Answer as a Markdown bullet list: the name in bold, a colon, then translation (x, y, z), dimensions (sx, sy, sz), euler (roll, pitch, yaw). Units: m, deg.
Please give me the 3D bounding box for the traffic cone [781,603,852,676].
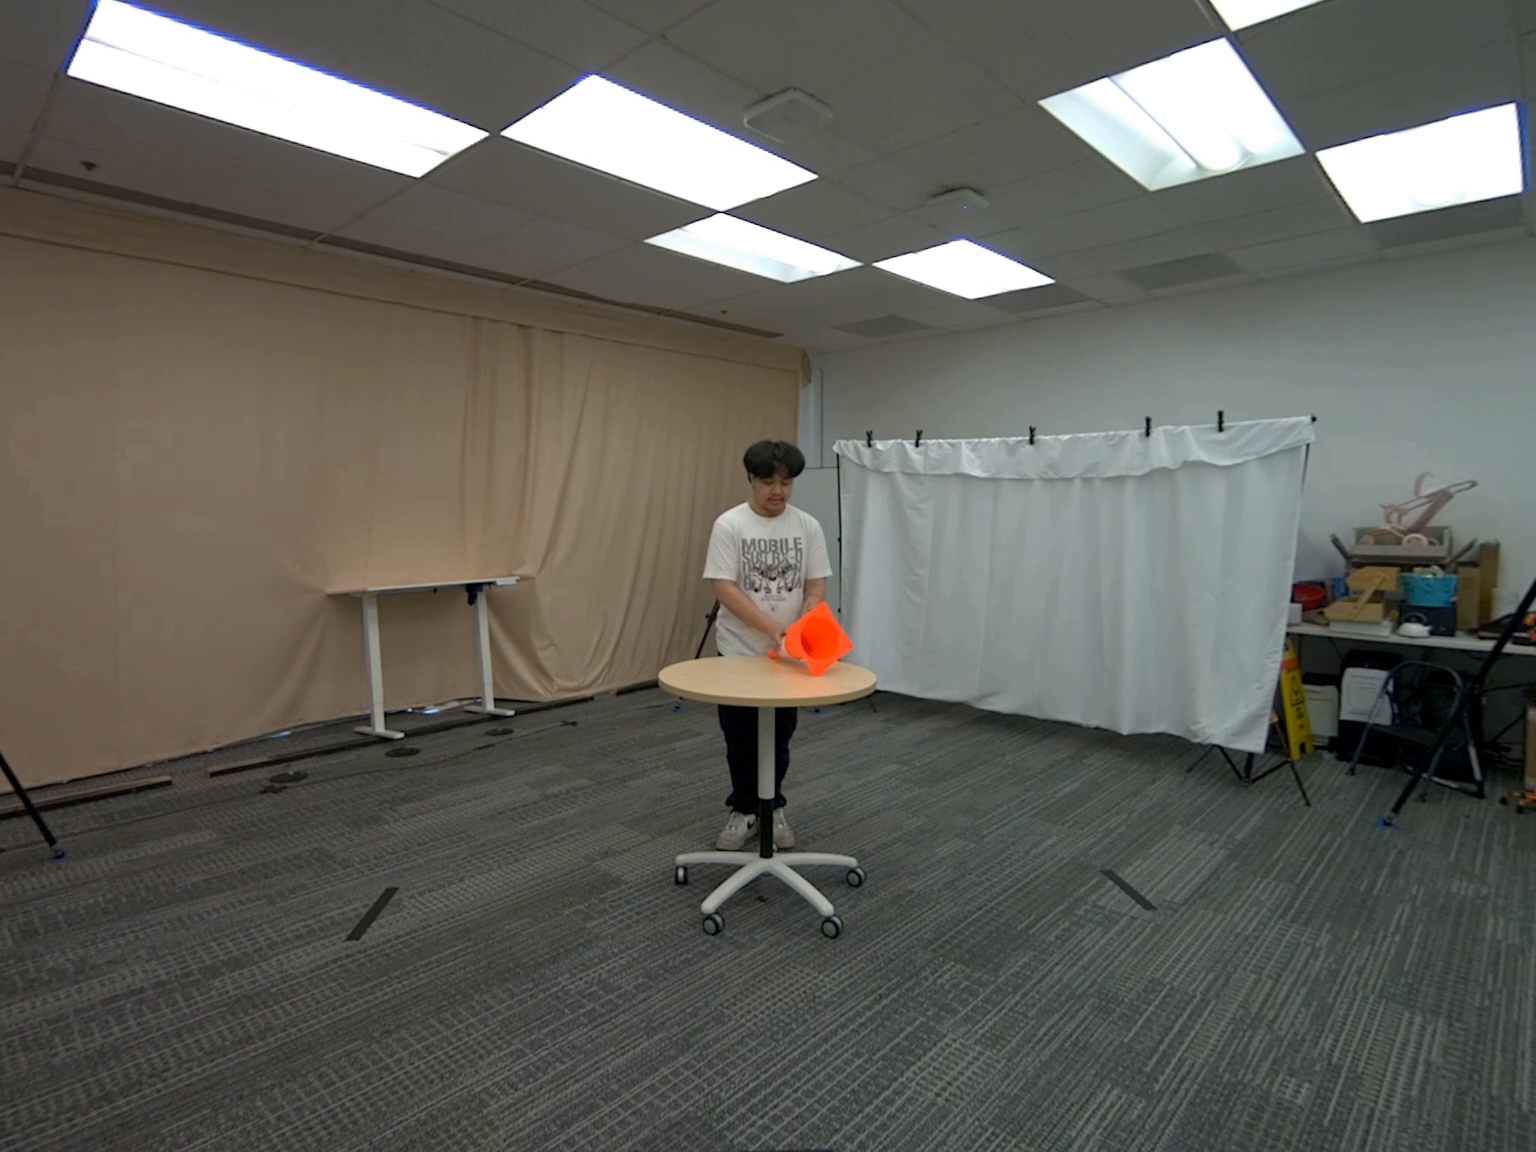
- **traffic cone**: translation (0.090, 0.268, 3.145), dimensions (0.202, 0.203, 0.389), euler (-36, 4, -30)
